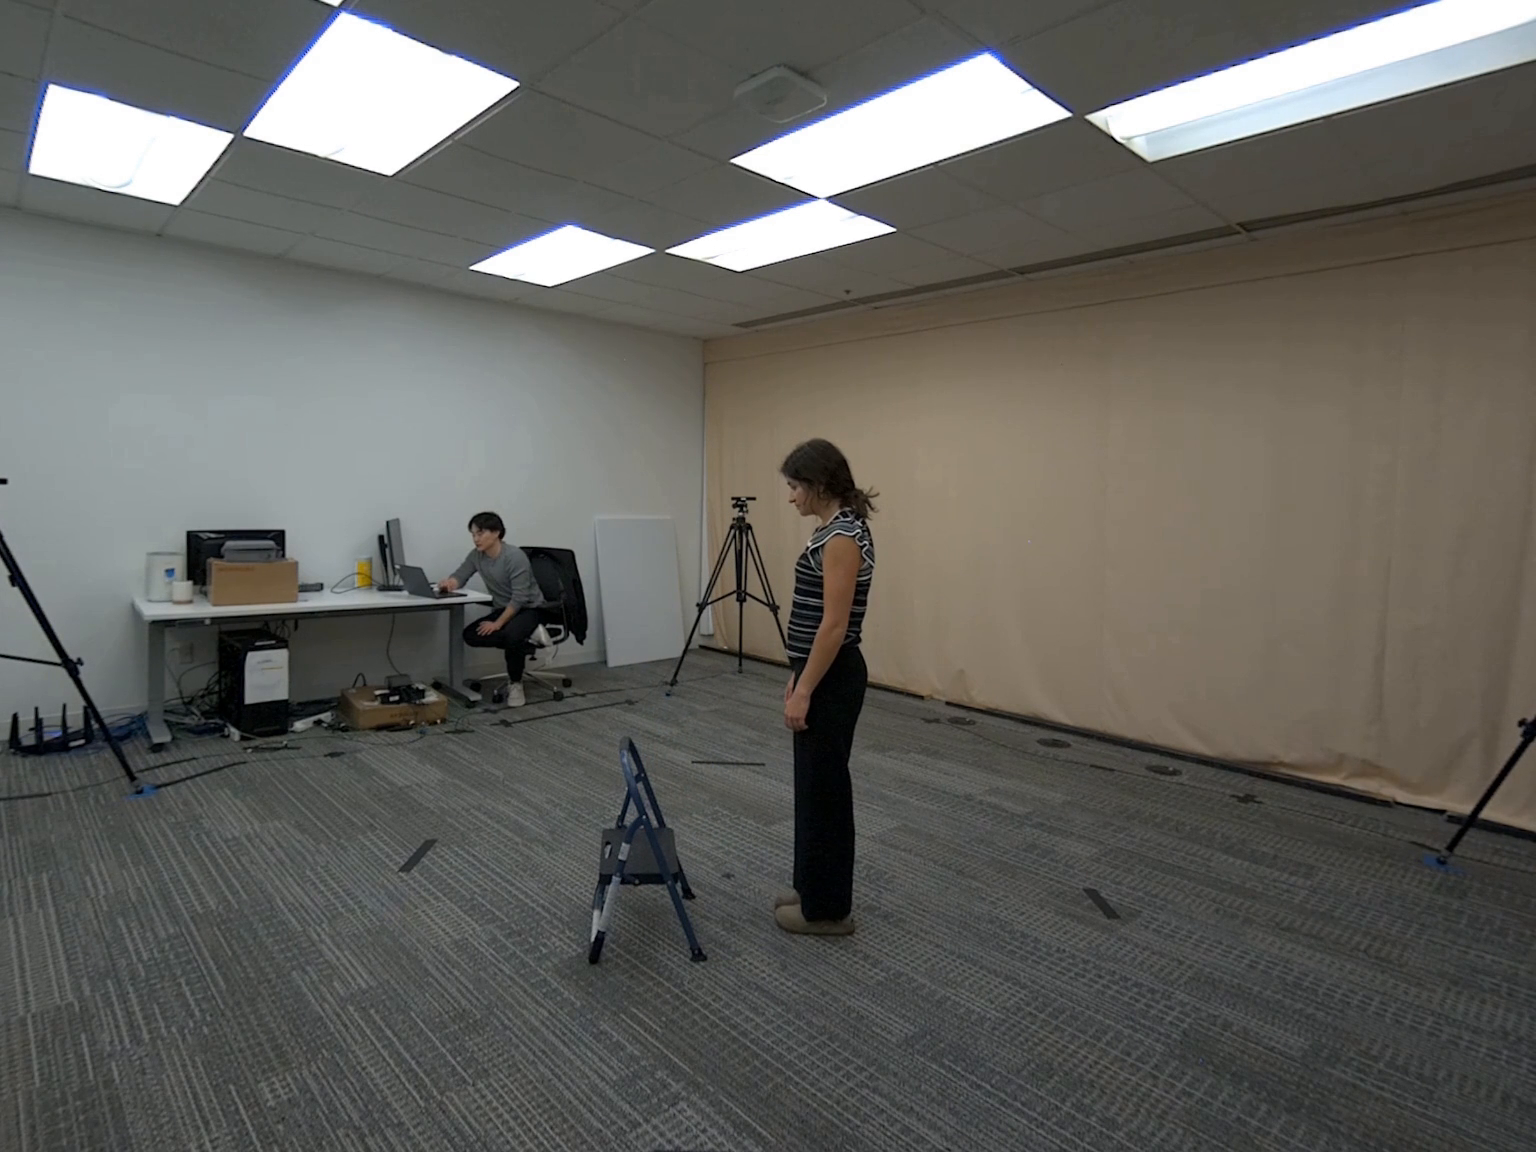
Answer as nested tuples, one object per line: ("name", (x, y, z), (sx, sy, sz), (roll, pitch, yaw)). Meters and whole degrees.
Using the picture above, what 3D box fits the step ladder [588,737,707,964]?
("step ladder", (-0.391, 0.836, 2.696), (0.347, 0.605, 0.435), (1, 3, -10))
